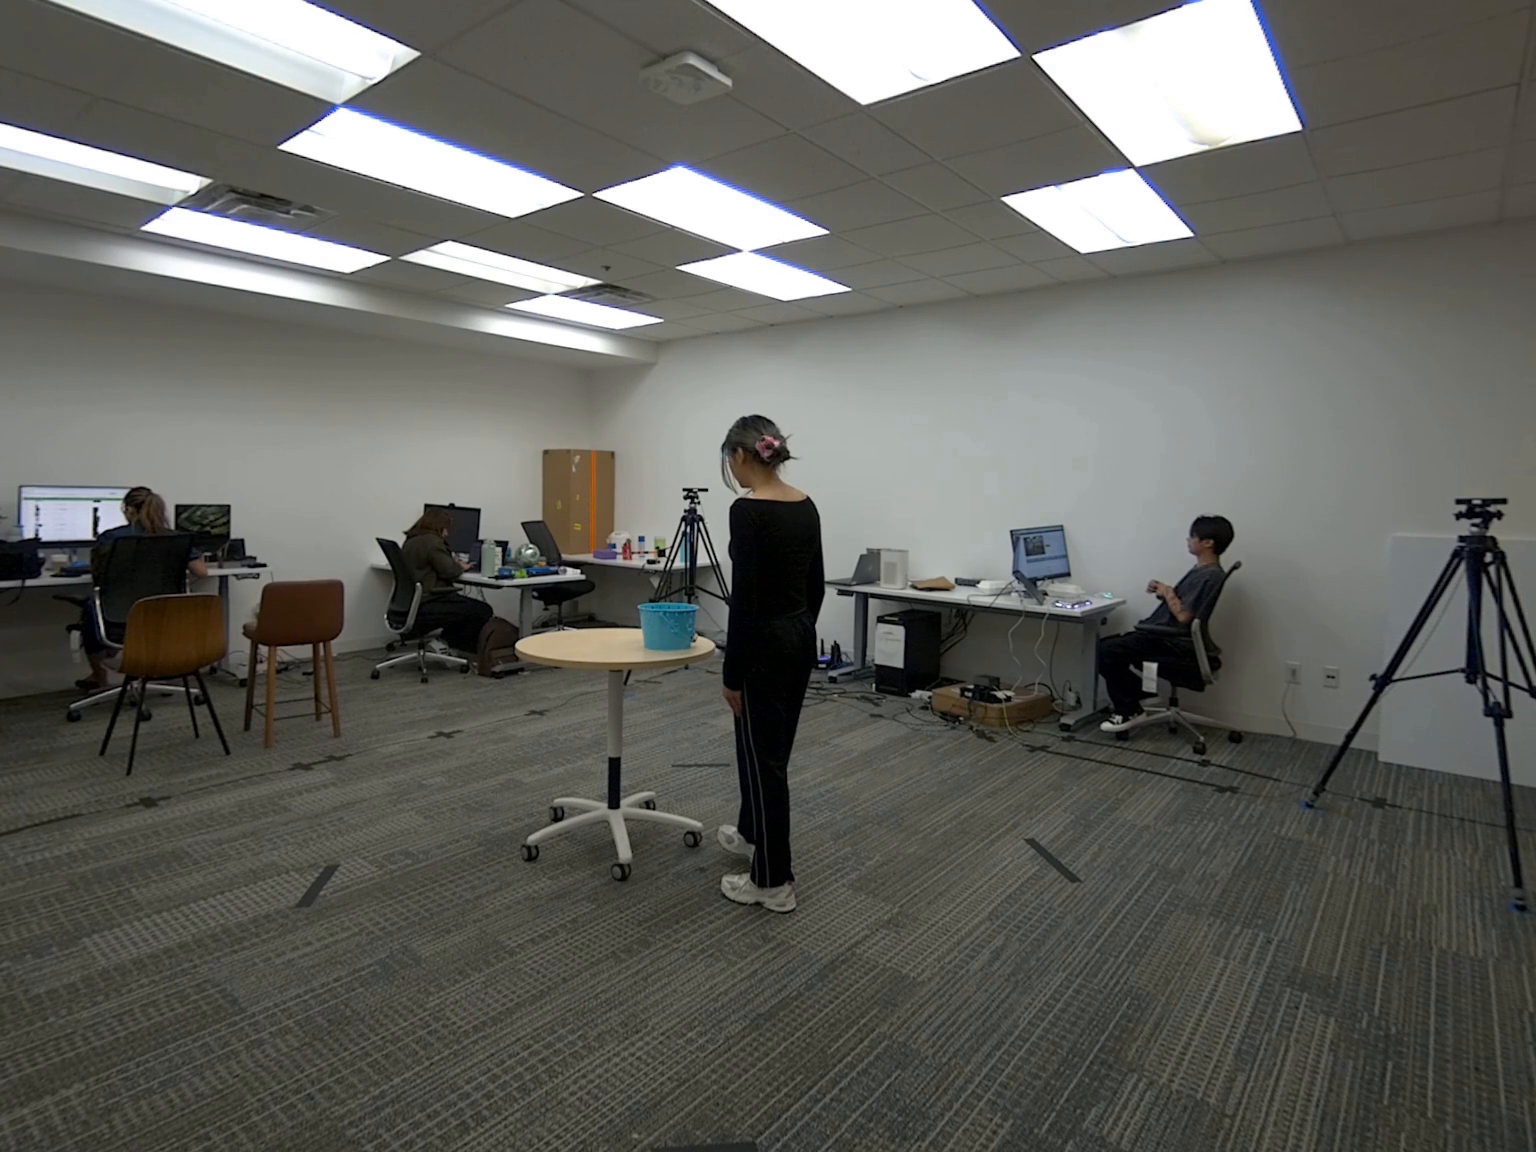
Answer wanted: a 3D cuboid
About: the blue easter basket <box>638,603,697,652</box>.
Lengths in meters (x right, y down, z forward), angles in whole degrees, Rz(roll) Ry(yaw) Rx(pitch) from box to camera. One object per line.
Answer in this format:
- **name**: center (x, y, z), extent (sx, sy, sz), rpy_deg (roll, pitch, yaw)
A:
- **blue easter basket**: center (-0.394, 0.191, 3.256), extent (0.243, 0.155, 0.244), rpy_deg (1, 4, -2)
